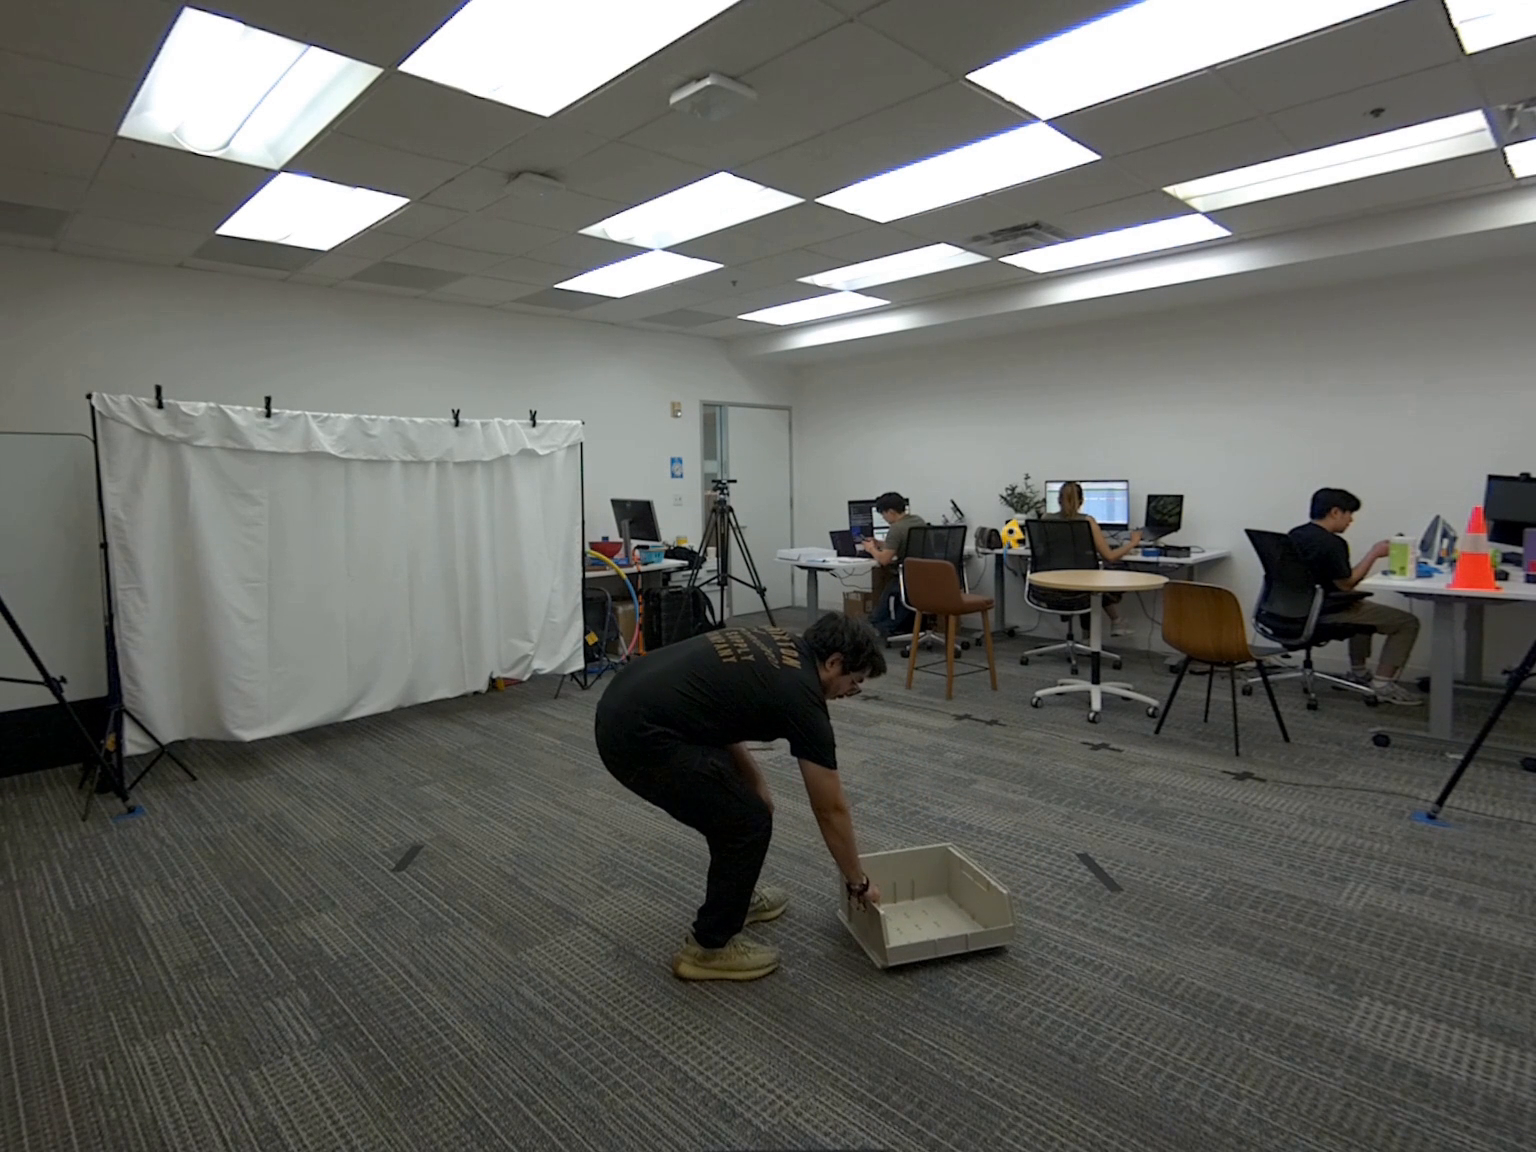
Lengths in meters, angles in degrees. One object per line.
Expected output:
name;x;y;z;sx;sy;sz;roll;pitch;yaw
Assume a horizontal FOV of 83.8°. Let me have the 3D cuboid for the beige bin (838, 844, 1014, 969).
beige bin;0.470;1.004;2.606;0.416;0.188;0.384;-4;5;-17
